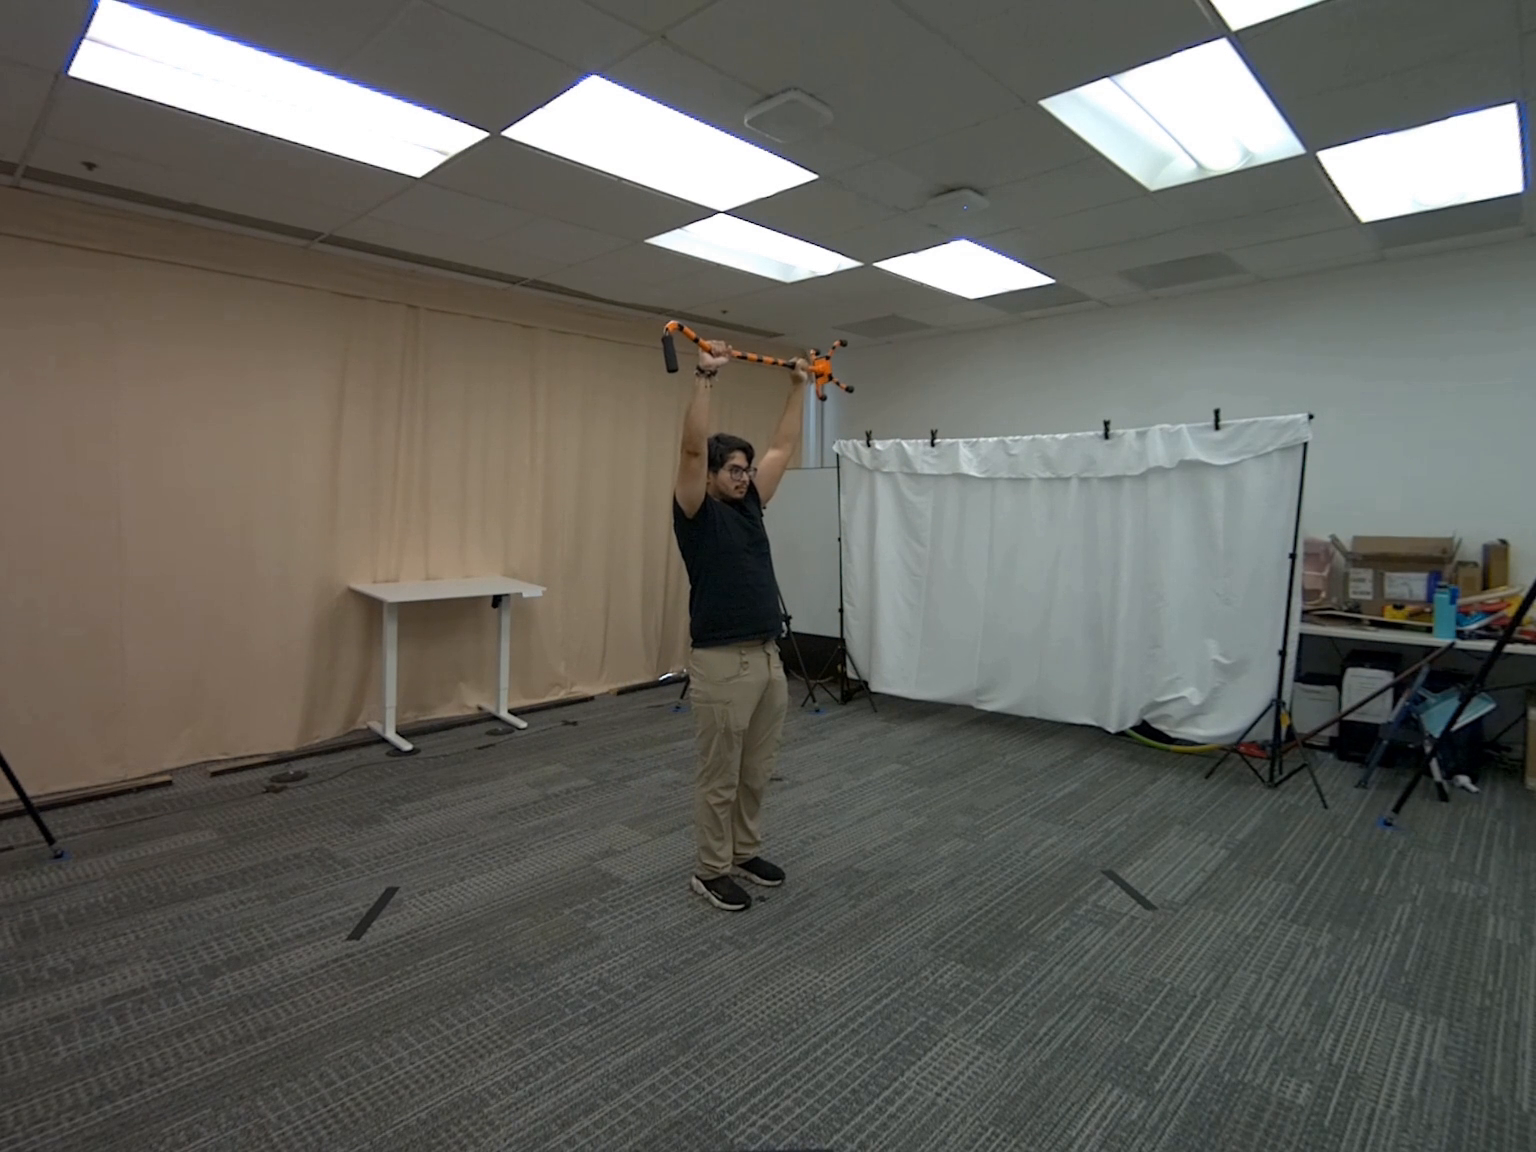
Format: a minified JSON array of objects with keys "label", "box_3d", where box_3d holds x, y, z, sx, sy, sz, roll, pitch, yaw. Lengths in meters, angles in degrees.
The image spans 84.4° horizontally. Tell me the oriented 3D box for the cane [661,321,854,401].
[{"label":"cane","box_3d":[-0.019,-0.741,2.845,0.156,0.207,0.881,-12,-3,39]}]
